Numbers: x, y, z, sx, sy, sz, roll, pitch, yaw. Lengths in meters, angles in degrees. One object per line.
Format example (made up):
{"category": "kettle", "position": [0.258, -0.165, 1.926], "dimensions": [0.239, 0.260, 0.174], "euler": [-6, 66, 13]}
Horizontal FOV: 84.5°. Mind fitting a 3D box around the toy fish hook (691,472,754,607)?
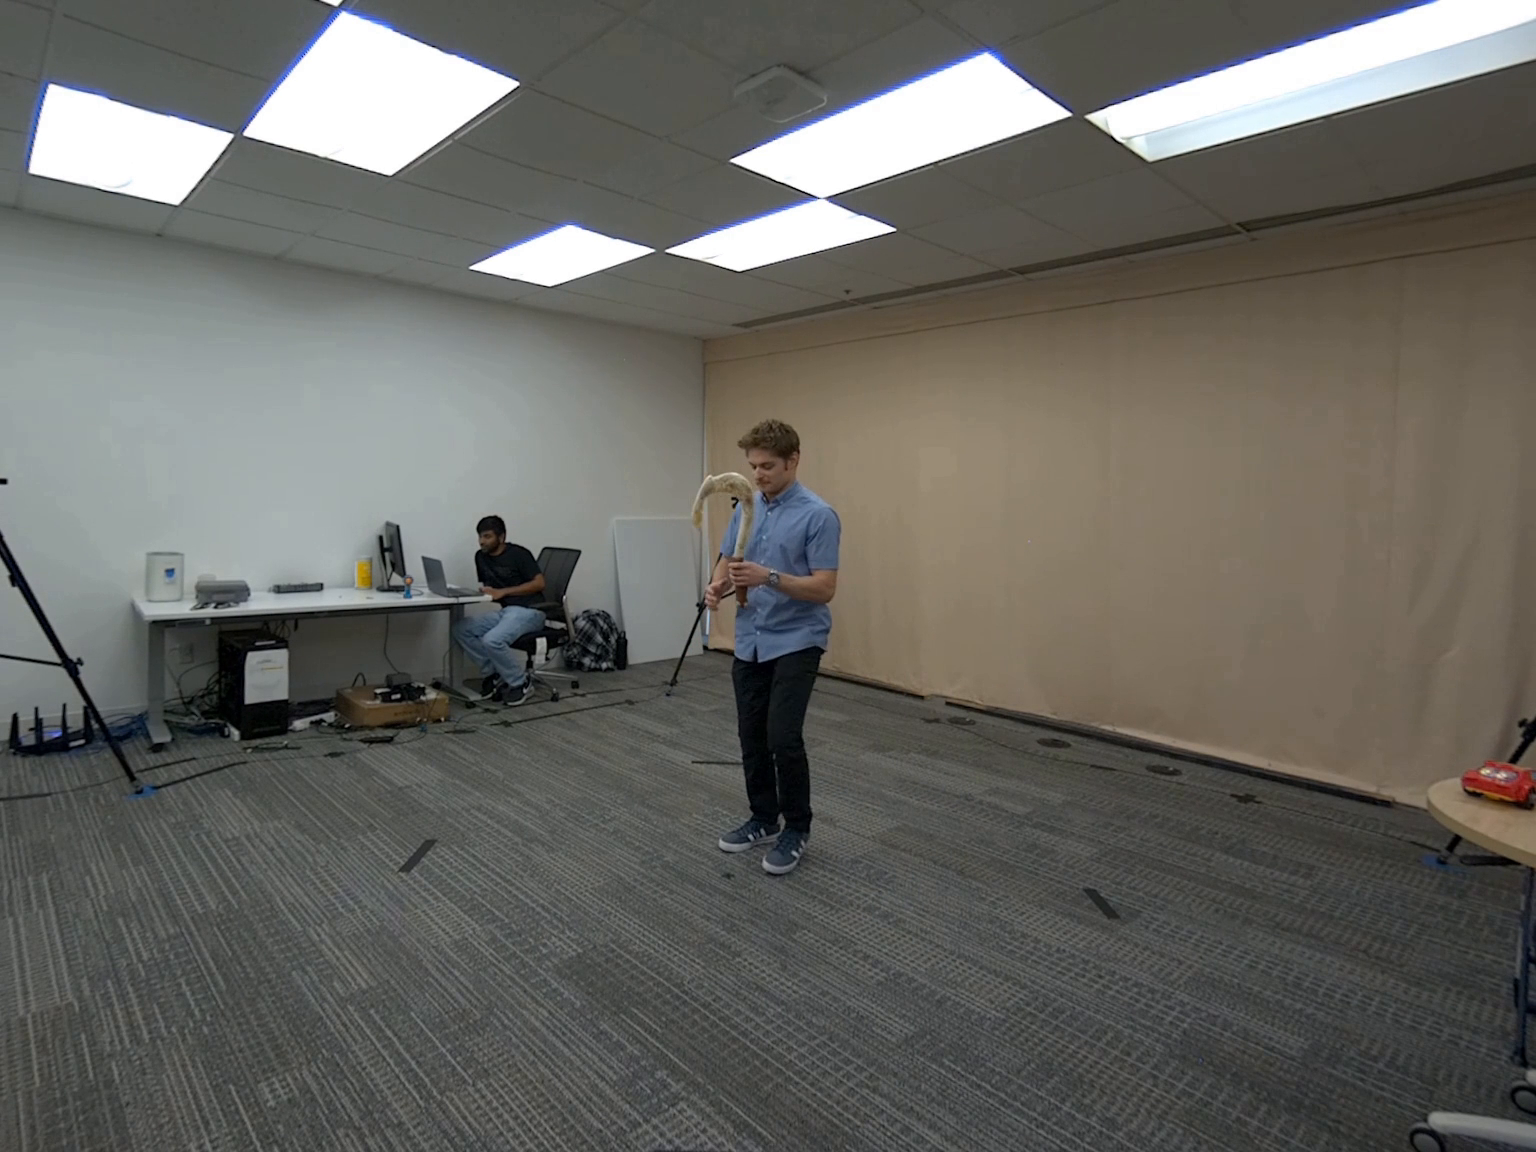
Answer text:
{"category": "toy fish hook", "position": [-0.158, -0.110, 2.916], "dimensions": [0.223, 0.499, 0.049], "euler": [-9, 21, -13]}
